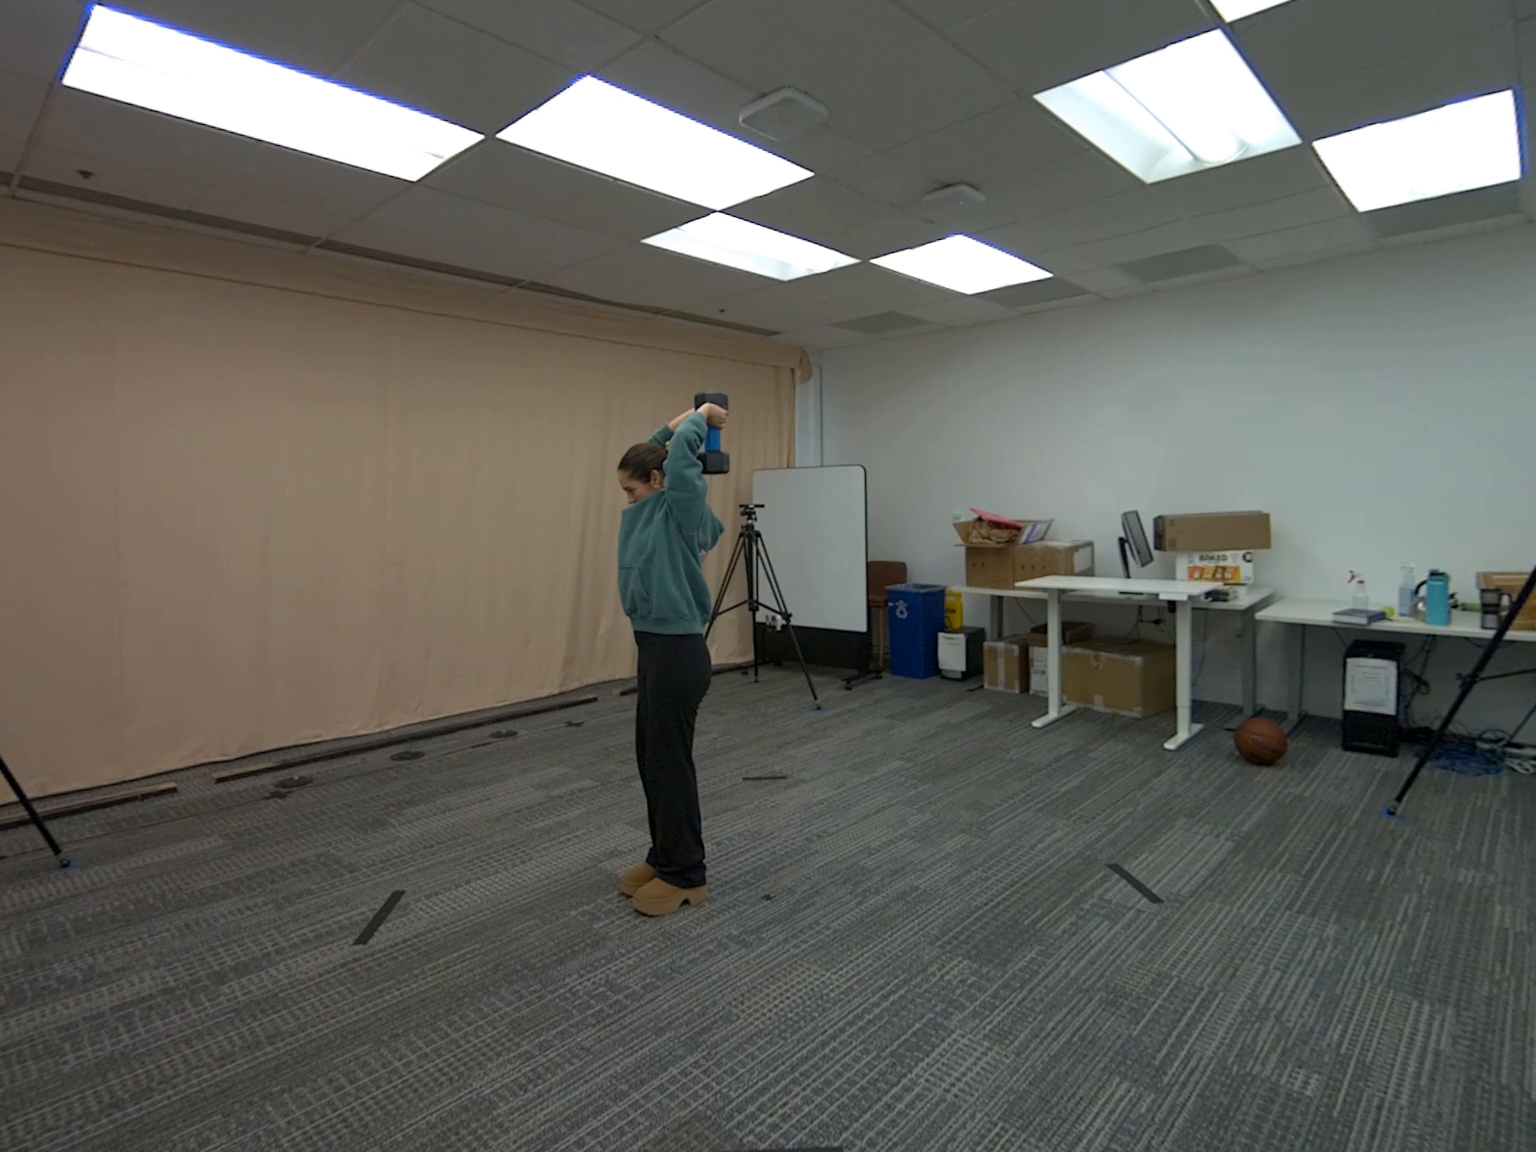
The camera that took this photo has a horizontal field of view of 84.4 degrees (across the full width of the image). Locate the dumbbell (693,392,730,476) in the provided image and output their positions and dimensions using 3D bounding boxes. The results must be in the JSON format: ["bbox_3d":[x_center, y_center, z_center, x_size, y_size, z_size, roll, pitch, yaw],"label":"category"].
[{"bbox_3d":[-0.205,-0.513,3.014,0.121,0.293,0.111,-2,3,-18],"label":"dumbbell"}]
